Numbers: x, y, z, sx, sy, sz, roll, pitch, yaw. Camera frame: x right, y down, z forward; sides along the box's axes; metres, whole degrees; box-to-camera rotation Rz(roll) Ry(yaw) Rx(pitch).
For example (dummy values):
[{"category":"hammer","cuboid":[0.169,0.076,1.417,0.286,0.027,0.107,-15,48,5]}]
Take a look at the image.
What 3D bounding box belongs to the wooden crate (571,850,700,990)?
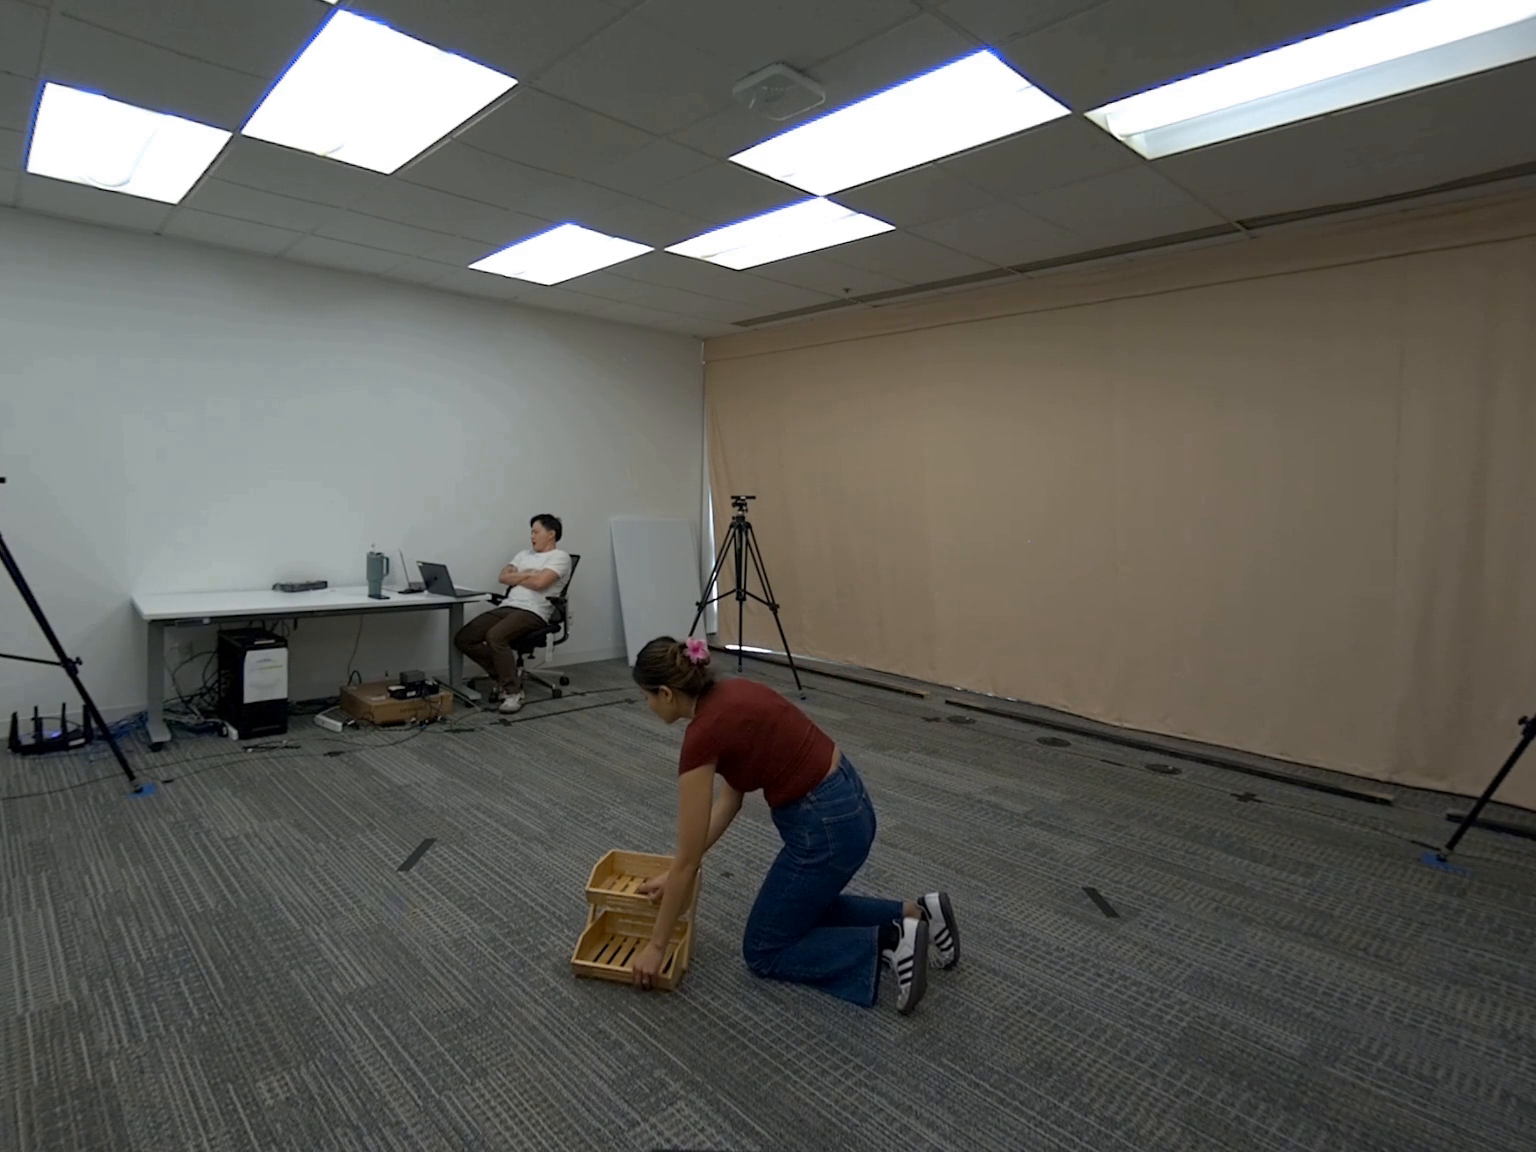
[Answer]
[{"category":"wooden crate","cuboid":[-0.385,1.016,2.505,0.328,0.273,0.299,3,3,12]}]
